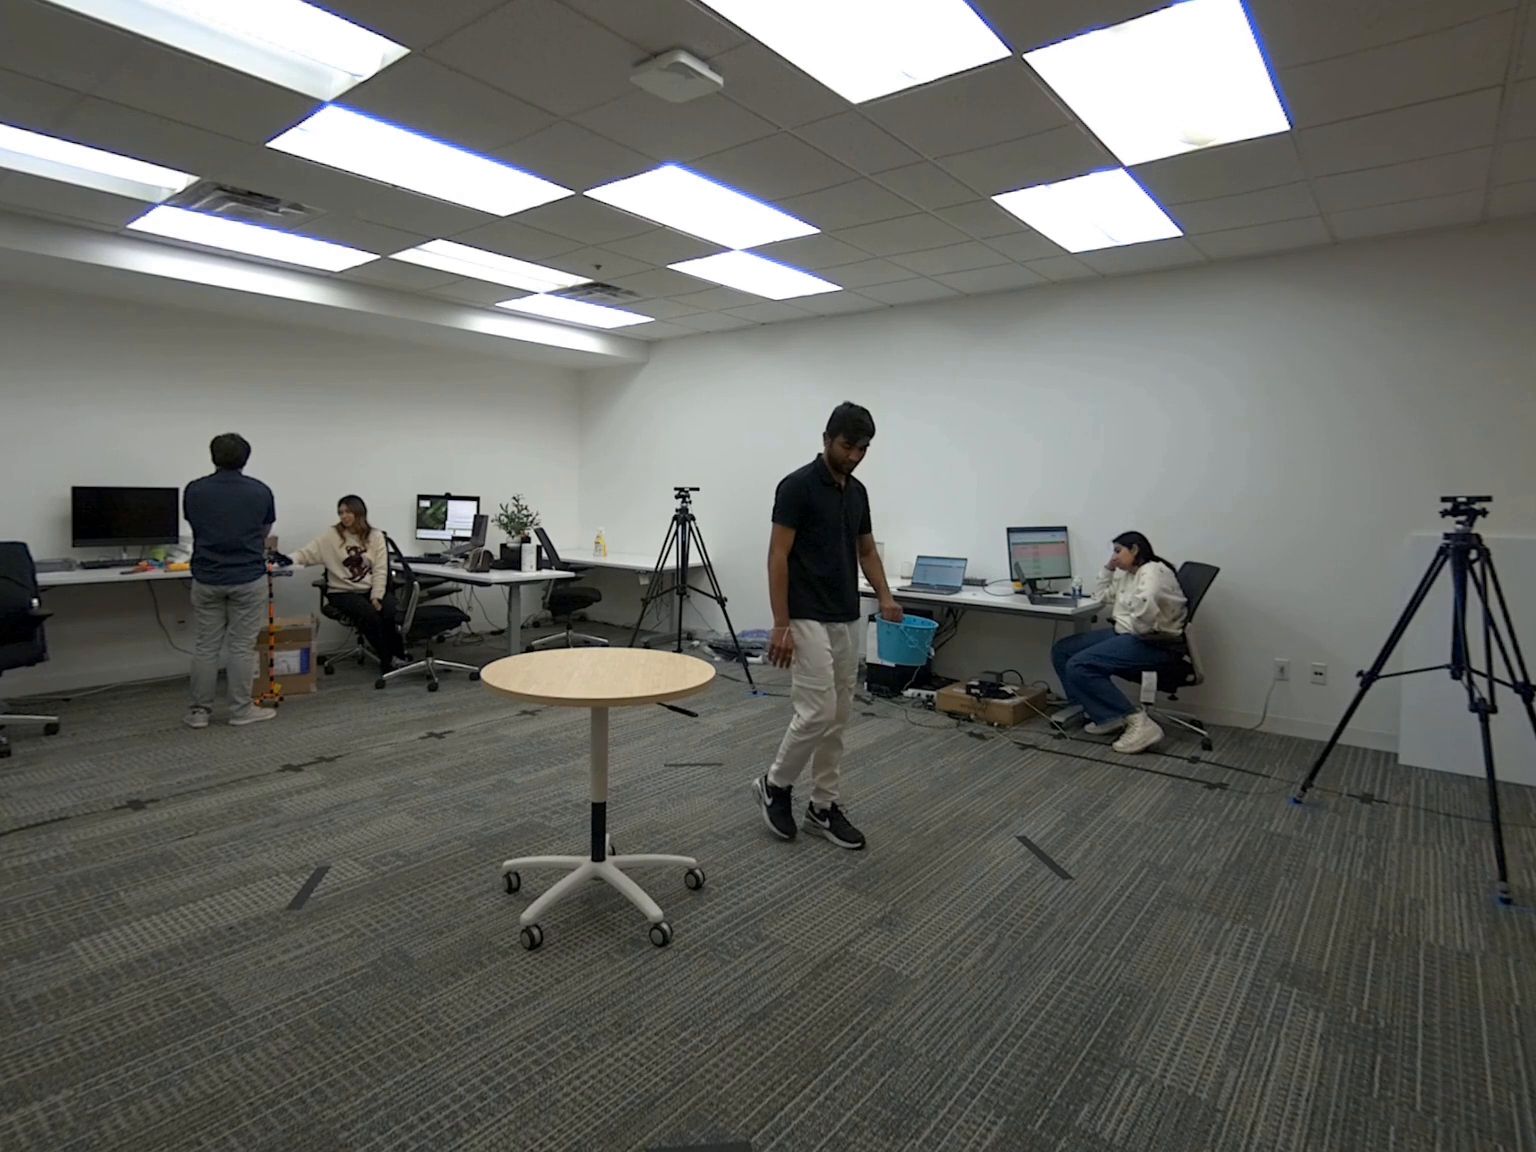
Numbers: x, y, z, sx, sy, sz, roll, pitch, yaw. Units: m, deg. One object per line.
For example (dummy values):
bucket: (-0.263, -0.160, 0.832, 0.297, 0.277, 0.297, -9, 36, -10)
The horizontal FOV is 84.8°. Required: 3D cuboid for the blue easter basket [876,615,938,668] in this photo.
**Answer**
blue easter basket: (0.524, 0.237, 3.212, 0.243, 0.155, 0.245, 3, 7, -2)
